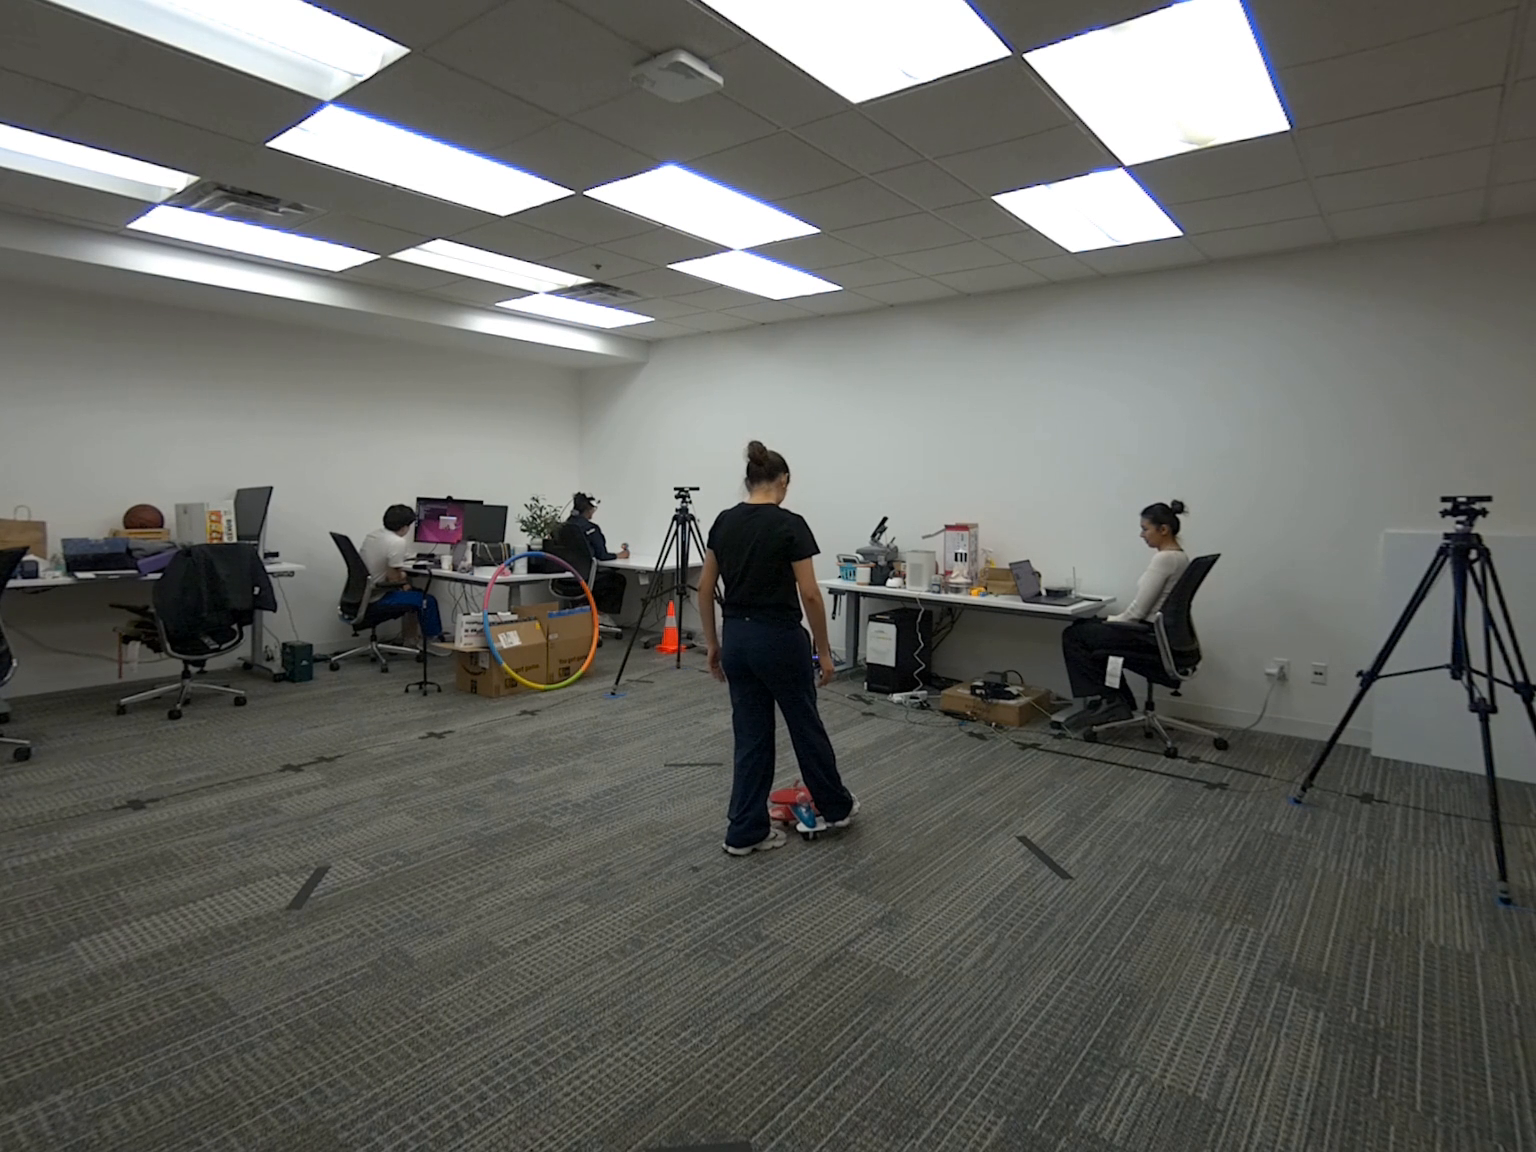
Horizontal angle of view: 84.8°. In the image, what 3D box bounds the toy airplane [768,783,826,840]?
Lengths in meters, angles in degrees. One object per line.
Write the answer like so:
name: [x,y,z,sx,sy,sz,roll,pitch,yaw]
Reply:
toy airplane: [0.170,0.963,3.489,0.243,0.156,0.268,-4,5,-44]
